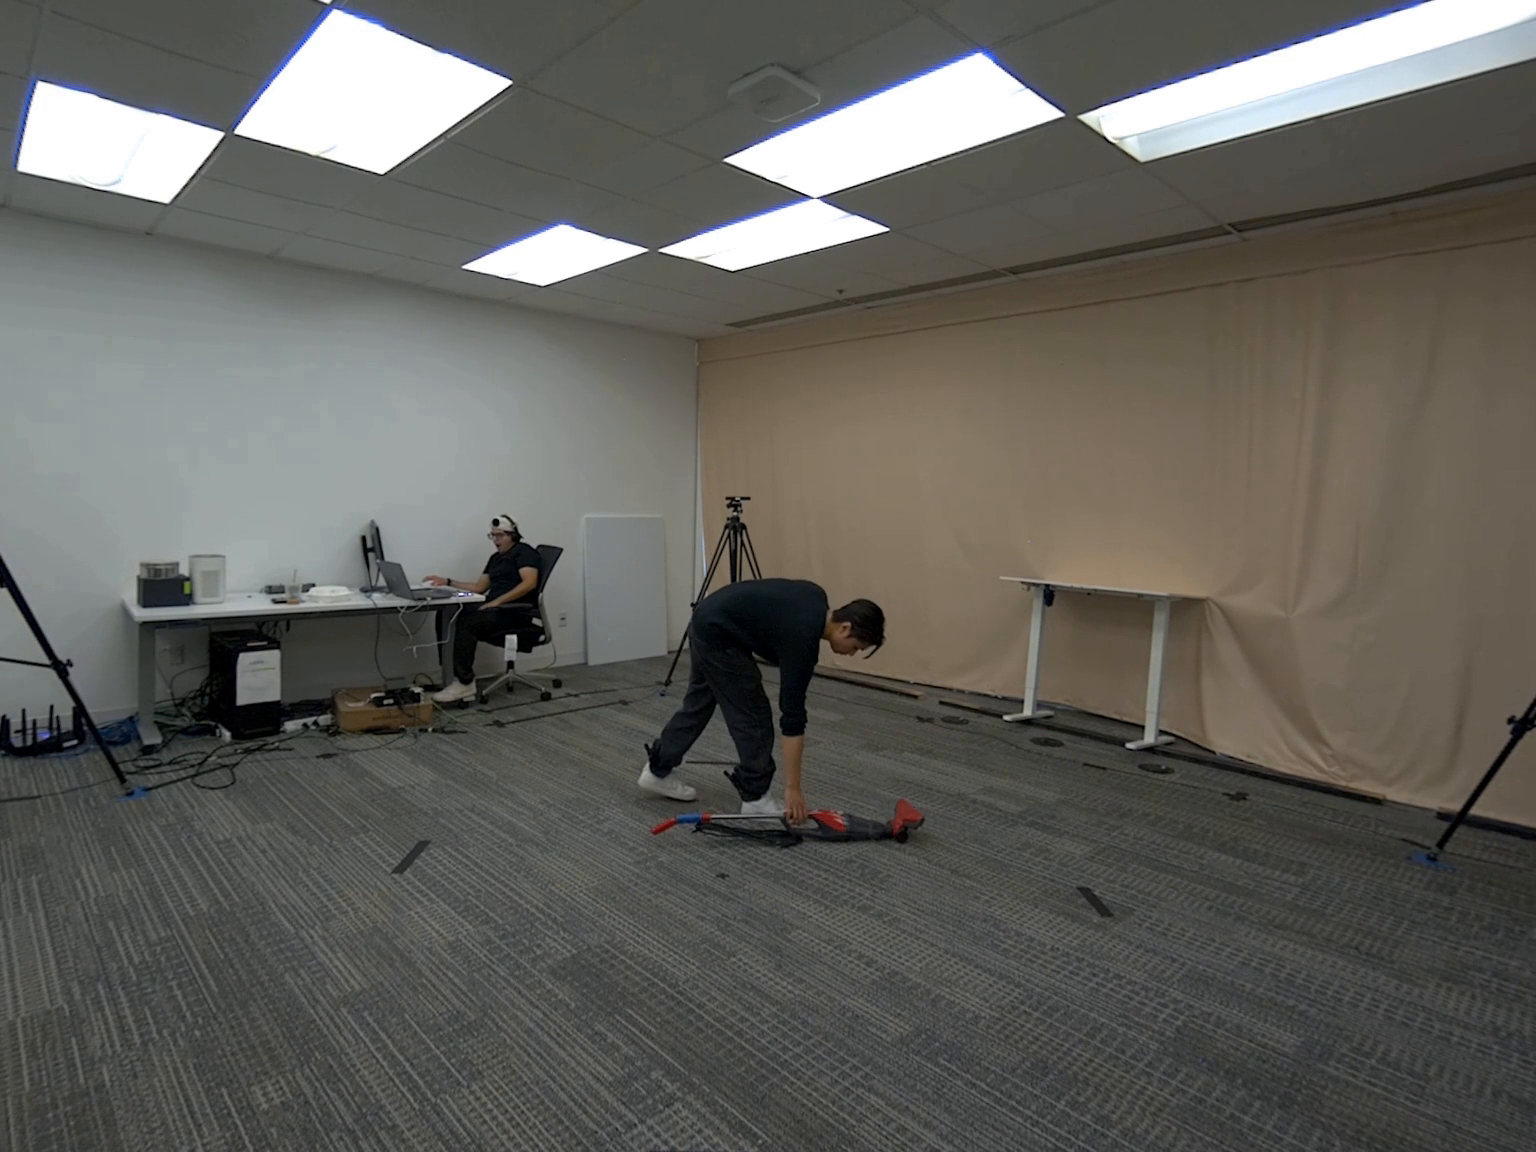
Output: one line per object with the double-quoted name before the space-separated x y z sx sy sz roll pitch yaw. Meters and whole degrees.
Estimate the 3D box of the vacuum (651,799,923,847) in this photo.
"vacuum" 0.057 1.015 3.424 1.041 0.144 0.254 0 -3 -10
